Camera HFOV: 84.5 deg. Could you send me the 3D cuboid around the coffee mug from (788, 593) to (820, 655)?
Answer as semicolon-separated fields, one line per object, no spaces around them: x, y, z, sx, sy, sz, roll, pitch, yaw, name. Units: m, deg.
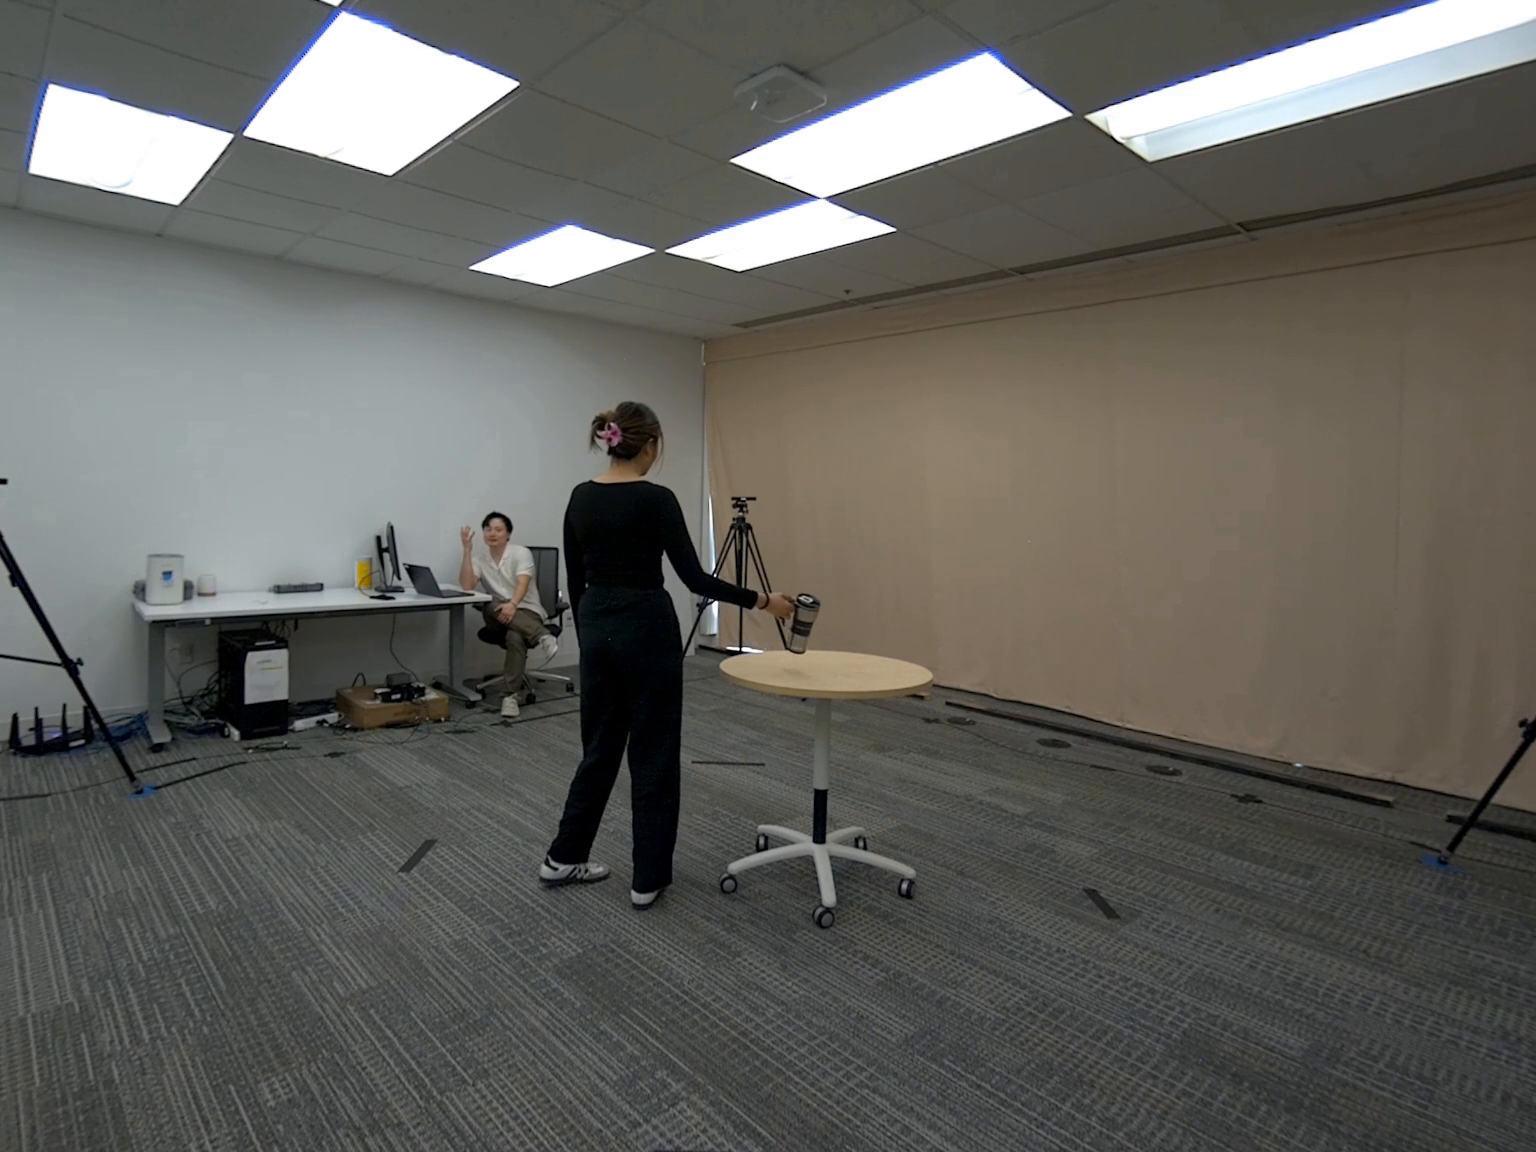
0.095;0.169;2.981;0.086;0.200;0.126;-11;32;-43;coffee mug
